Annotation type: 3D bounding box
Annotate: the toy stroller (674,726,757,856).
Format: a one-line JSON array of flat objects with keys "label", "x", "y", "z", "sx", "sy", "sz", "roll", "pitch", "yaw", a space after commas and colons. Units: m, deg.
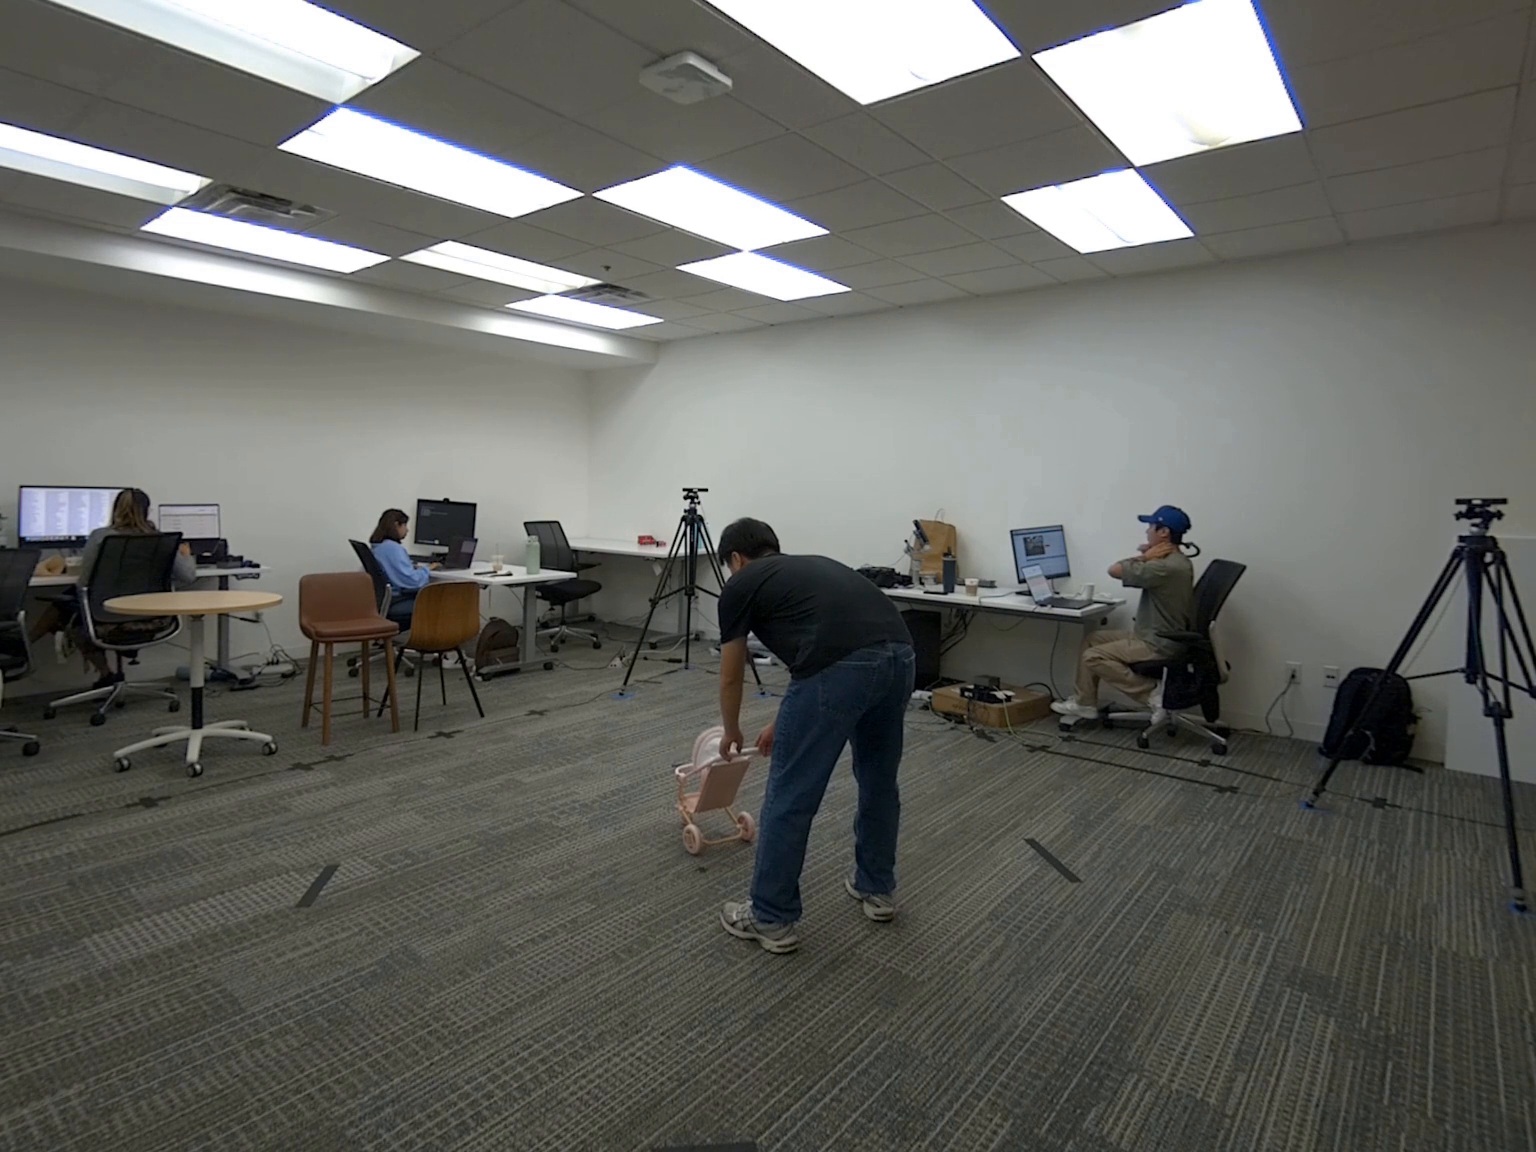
[{"label": "toy stroller", "x": -0.231, "y": 0.822, "z": 3.356, "sx": 0.274, "sy": 0.528, "sz": 0.355, "roll": -1, "pitch": 21, "yaw": -31}]
